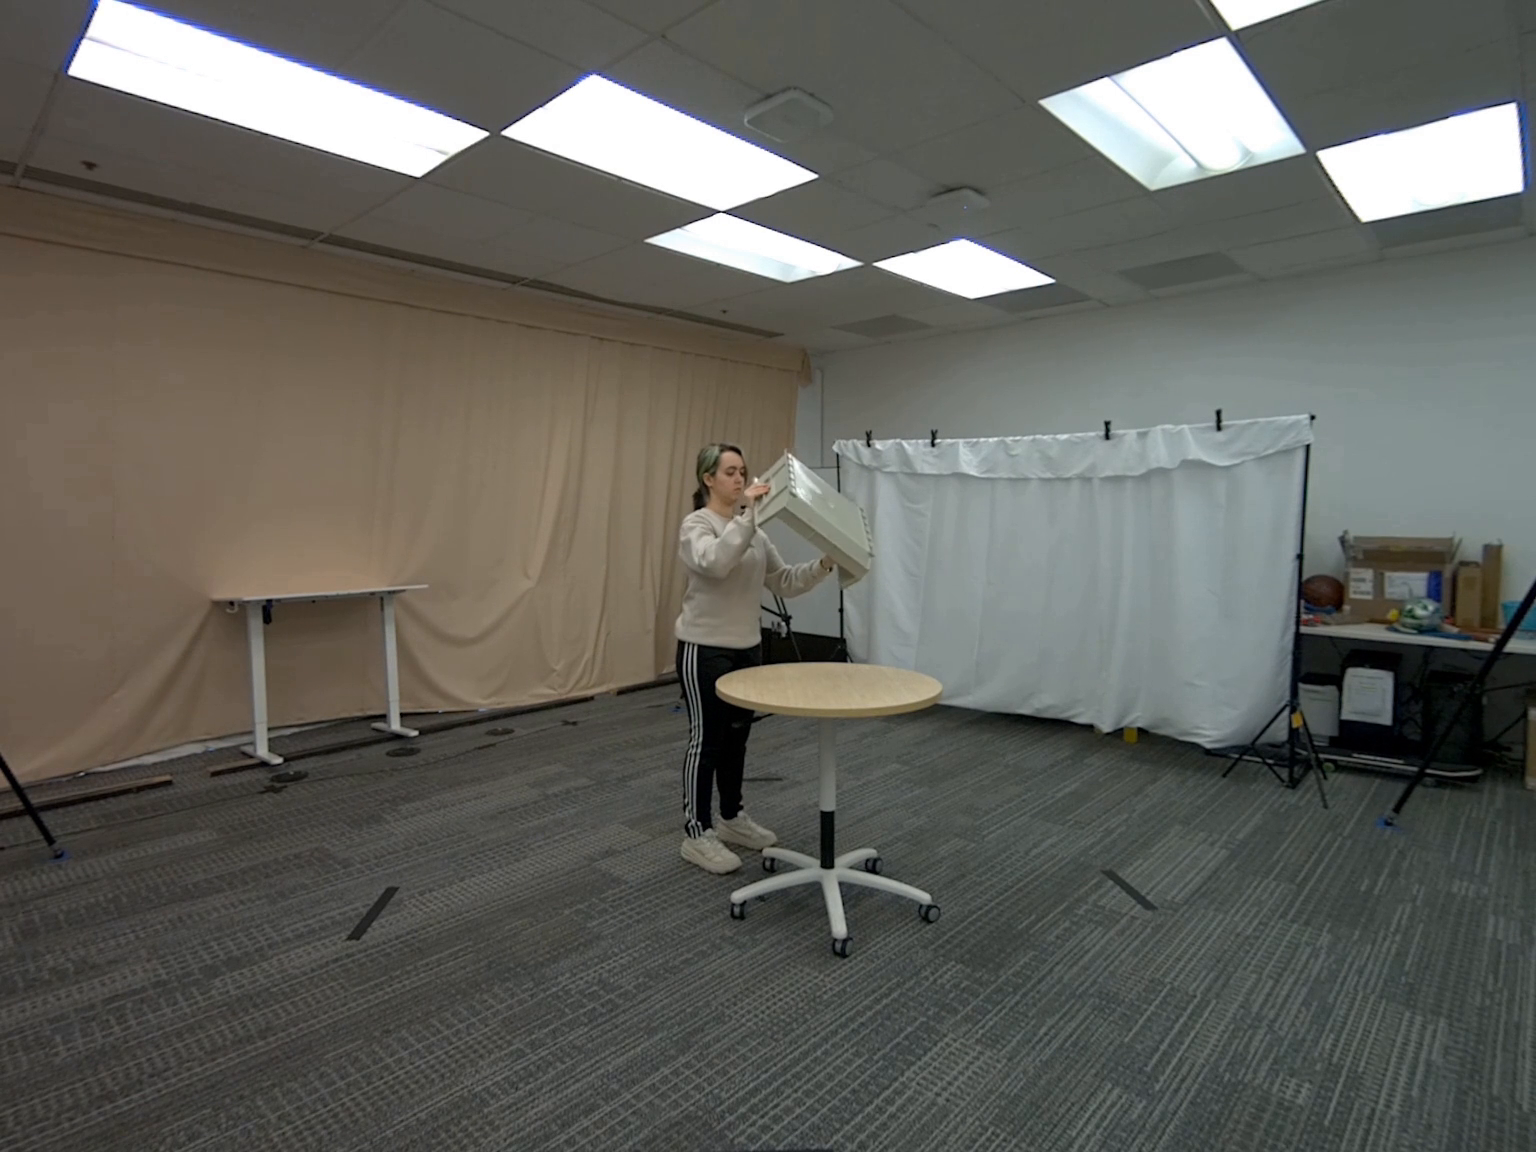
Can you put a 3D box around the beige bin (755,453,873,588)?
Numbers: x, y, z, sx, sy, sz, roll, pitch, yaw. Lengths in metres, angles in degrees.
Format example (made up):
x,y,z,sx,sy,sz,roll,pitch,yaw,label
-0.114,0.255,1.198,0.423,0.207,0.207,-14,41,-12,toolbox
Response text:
x,y,z,sx,sy,sz,roll,pitch,yaw,label
0.163,-0.196,3.052,0.412,0.190,0.384,35,28,-22,beige bin
